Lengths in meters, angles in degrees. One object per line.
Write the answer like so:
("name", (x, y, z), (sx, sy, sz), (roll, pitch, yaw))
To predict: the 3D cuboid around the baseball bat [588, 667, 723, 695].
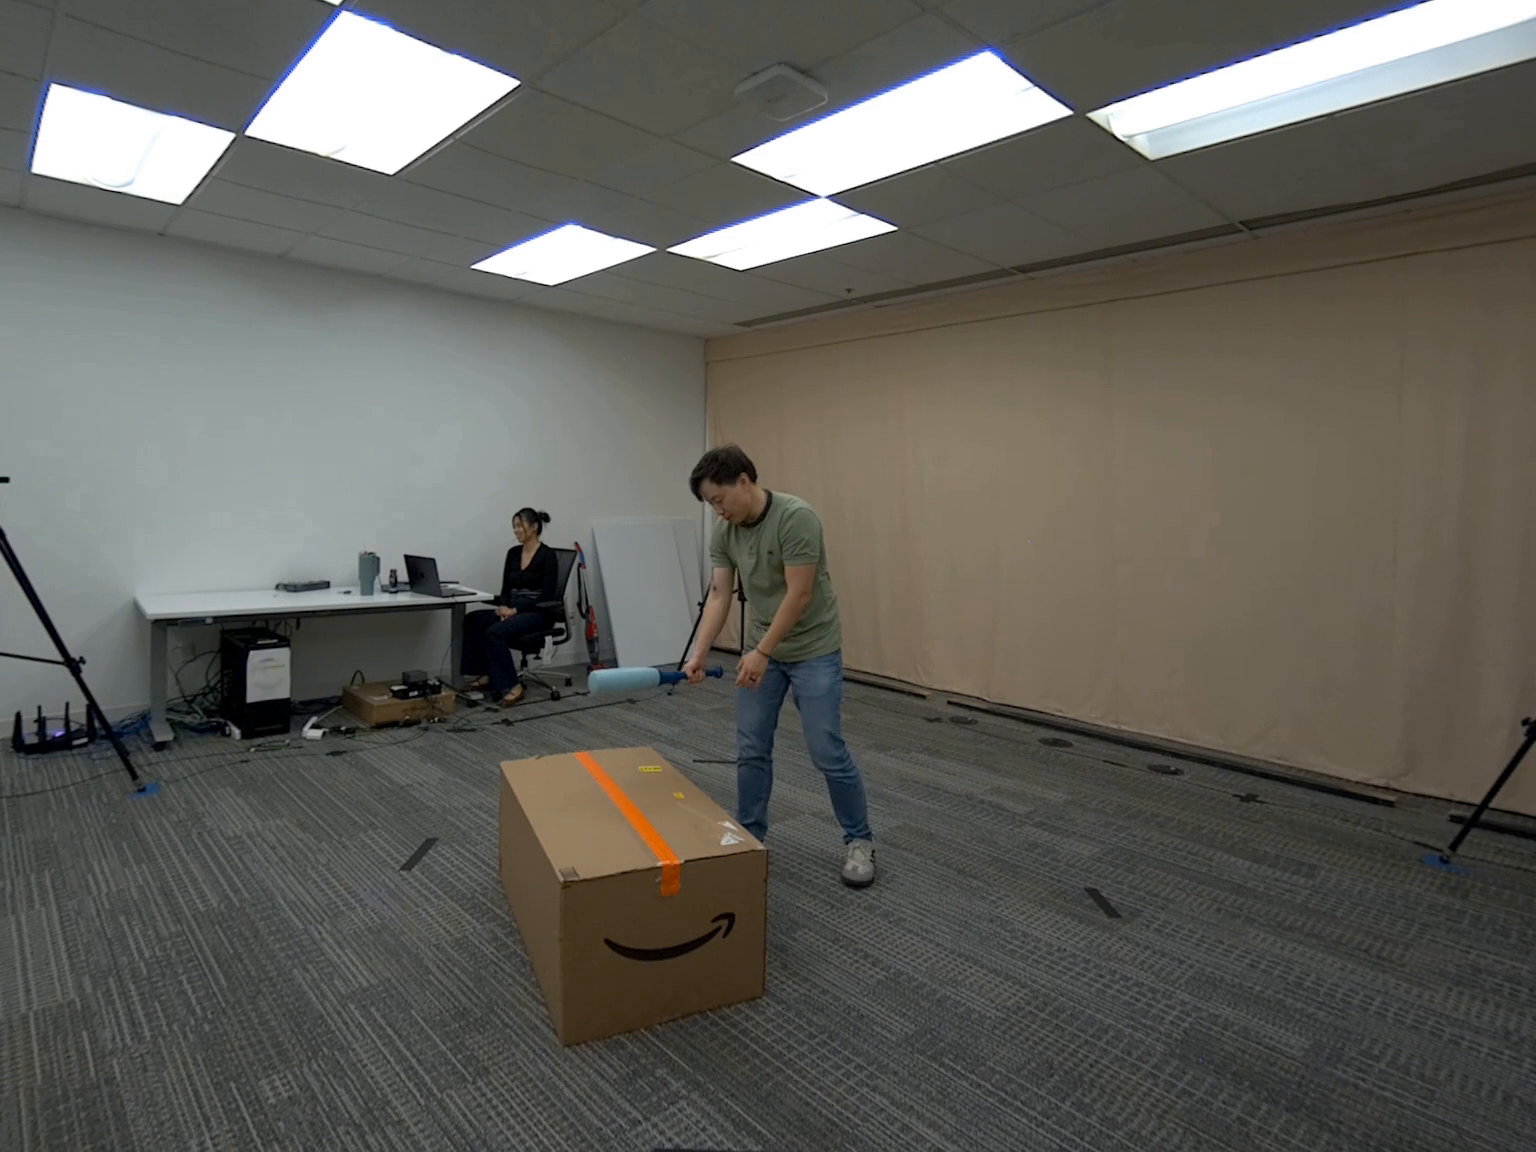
("baseball bat", (-0.378, 0.371, 3.012), (0.530, 0.089, 0.091), (0, 4, -38))
